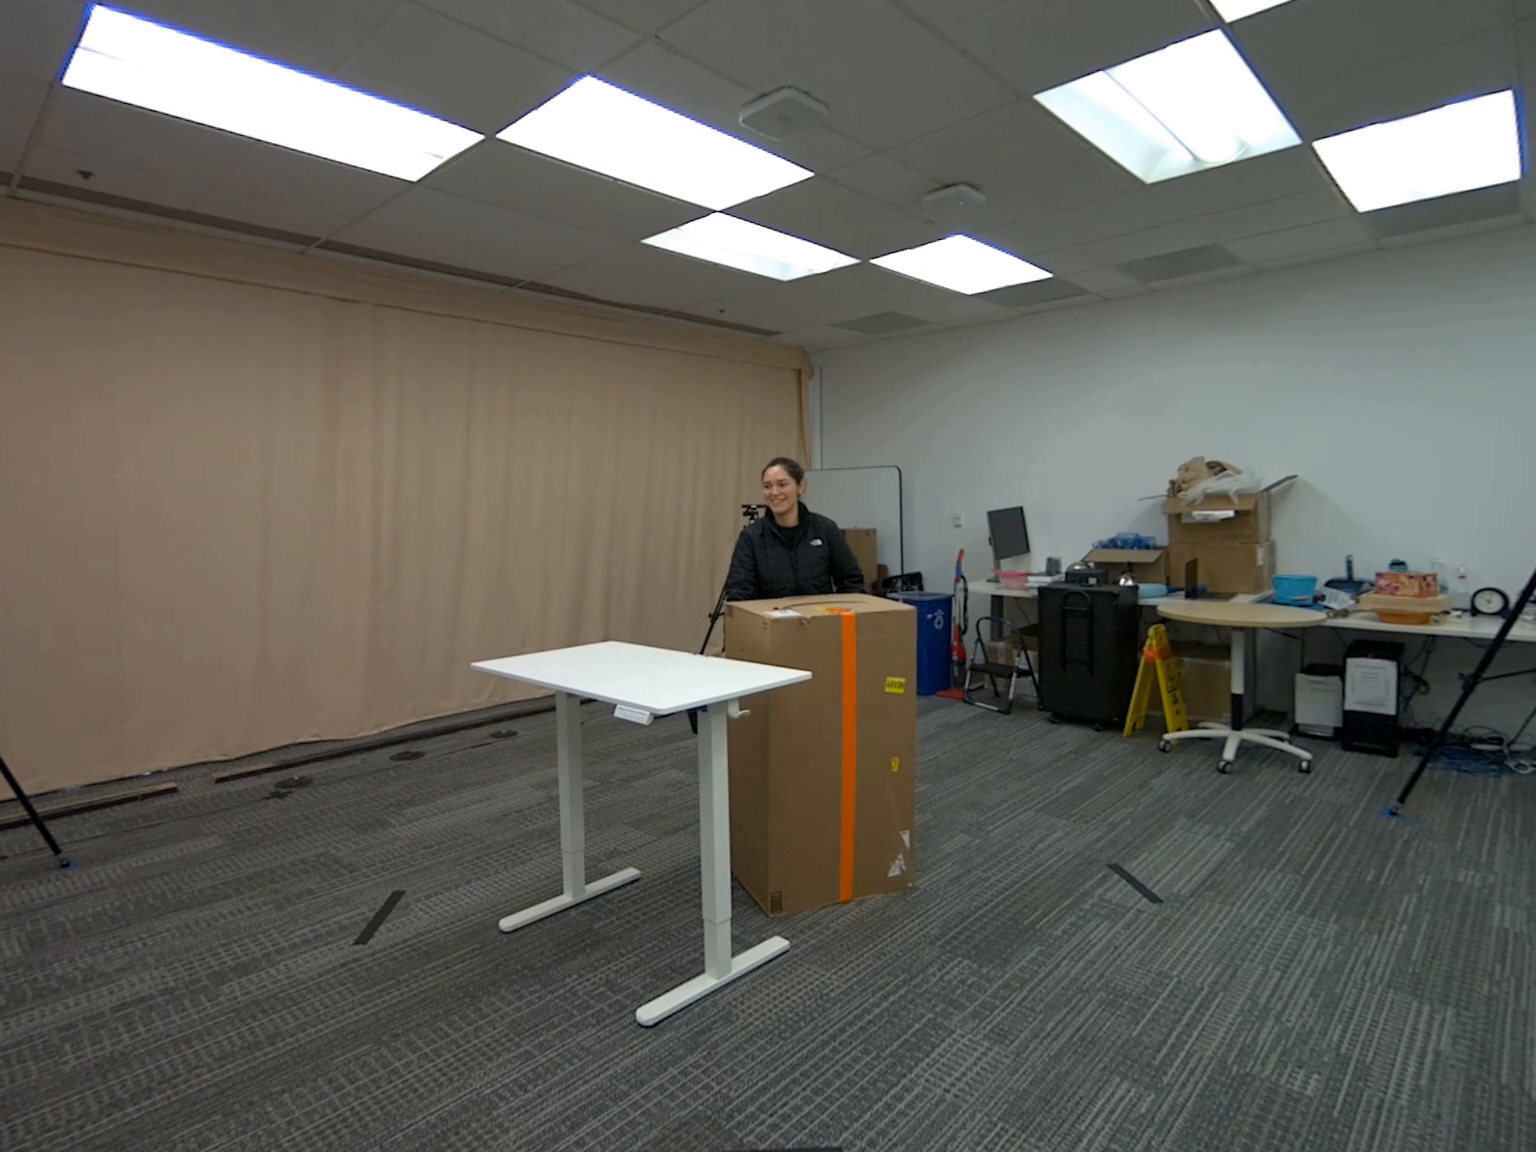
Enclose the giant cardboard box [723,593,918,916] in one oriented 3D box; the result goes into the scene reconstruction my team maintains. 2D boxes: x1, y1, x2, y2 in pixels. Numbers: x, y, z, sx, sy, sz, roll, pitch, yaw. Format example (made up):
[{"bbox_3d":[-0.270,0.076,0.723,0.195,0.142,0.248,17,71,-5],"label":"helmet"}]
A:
[{"bbox_3d":[0.190,0.615,3.094,0.565,1.022,0.437,-2,5,-23],"label":"giant cardboard box"}]
